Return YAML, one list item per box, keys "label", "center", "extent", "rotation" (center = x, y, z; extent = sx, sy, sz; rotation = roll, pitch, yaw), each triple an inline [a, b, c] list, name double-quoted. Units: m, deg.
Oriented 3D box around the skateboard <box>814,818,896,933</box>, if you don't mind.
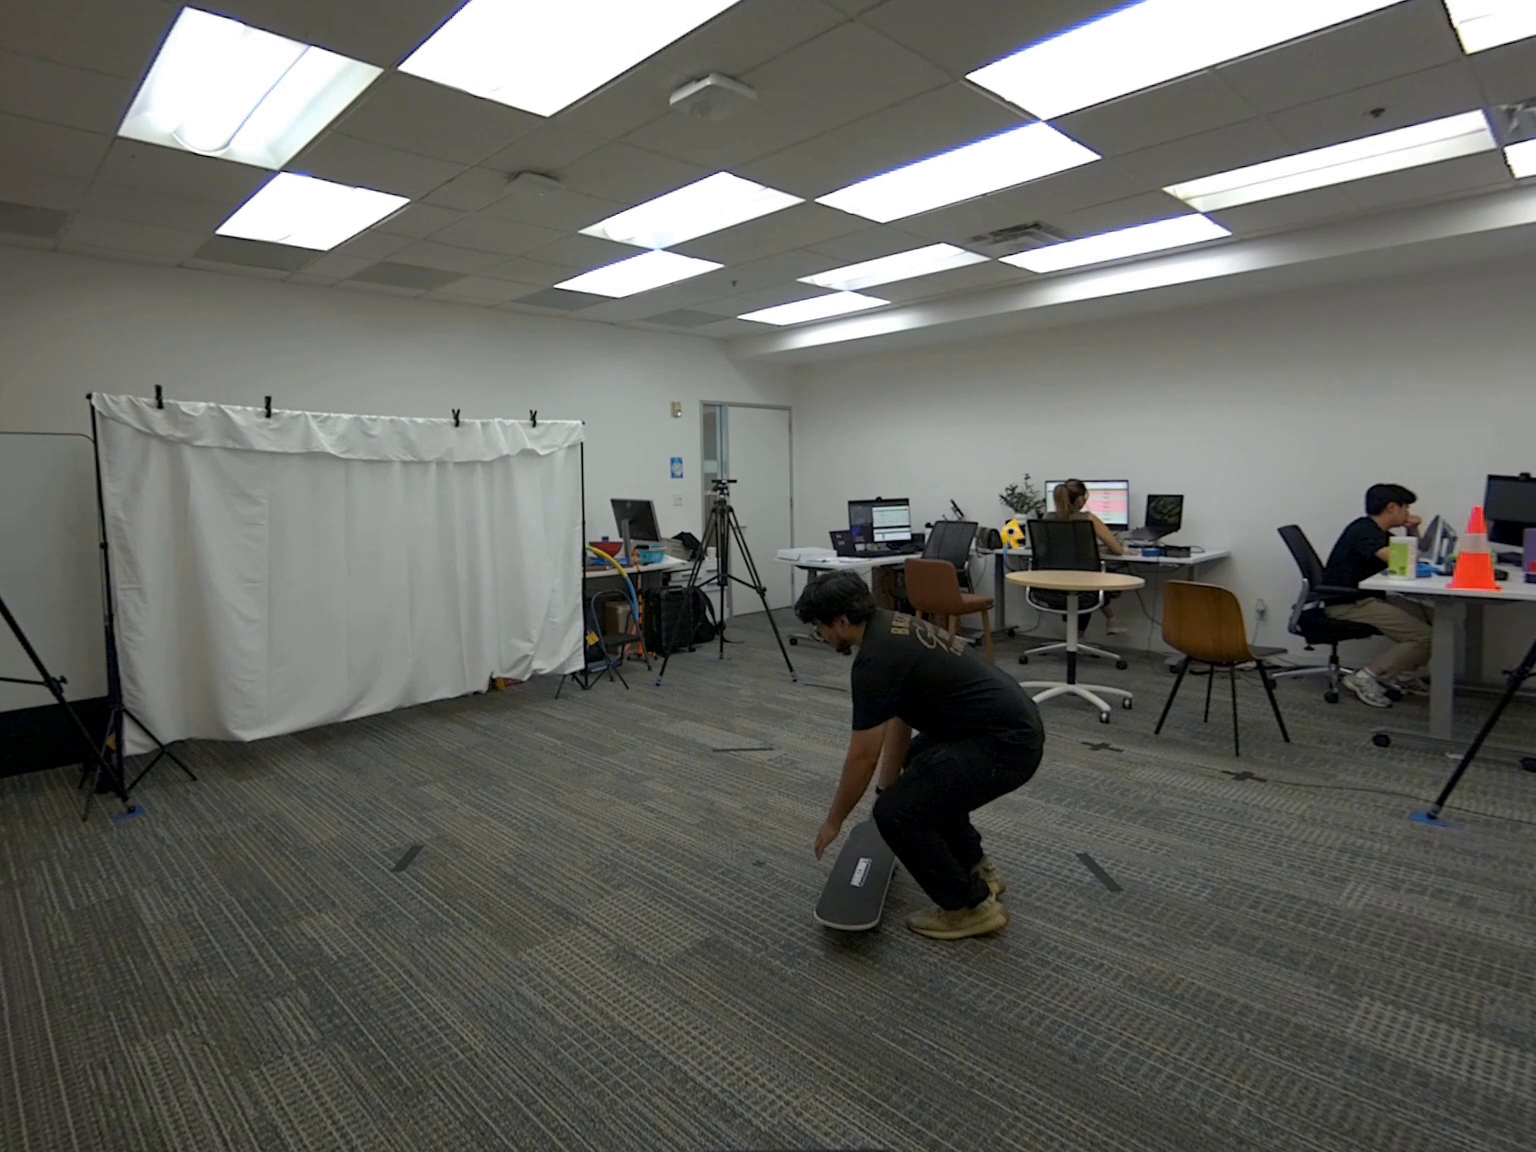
- label: "skateboard"
  center: [0.311, 1.015, 2.848]
  extent: [0.196, 0.110, 0.777]
  rotation: [1, 7, 15]
